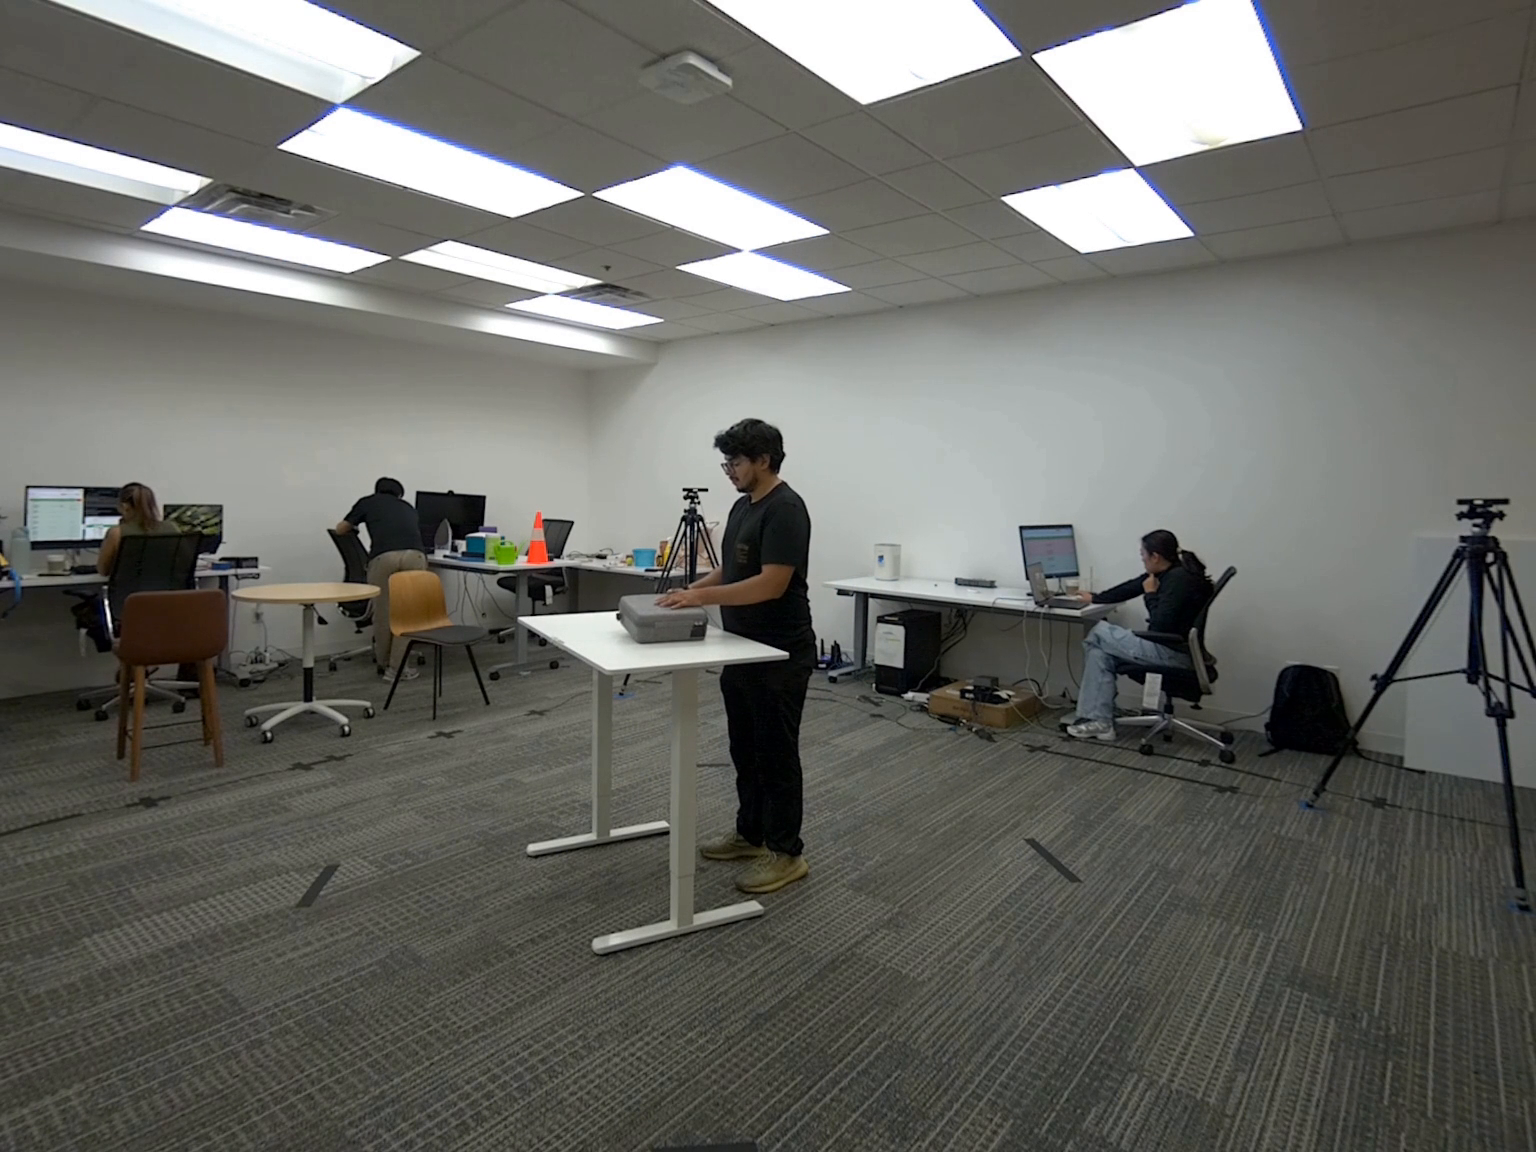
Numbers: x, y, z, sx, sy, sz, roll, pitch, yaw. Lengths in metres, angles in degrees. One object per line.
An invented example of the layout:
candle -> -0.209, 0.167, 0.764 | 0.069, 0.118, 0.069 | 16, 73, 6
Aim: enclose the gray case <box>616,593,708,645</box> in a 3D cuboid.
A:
gray case -> -0.372, 0.146, 2.888 | 0.251, 0.103, 0.269 | -1, 15, -22
